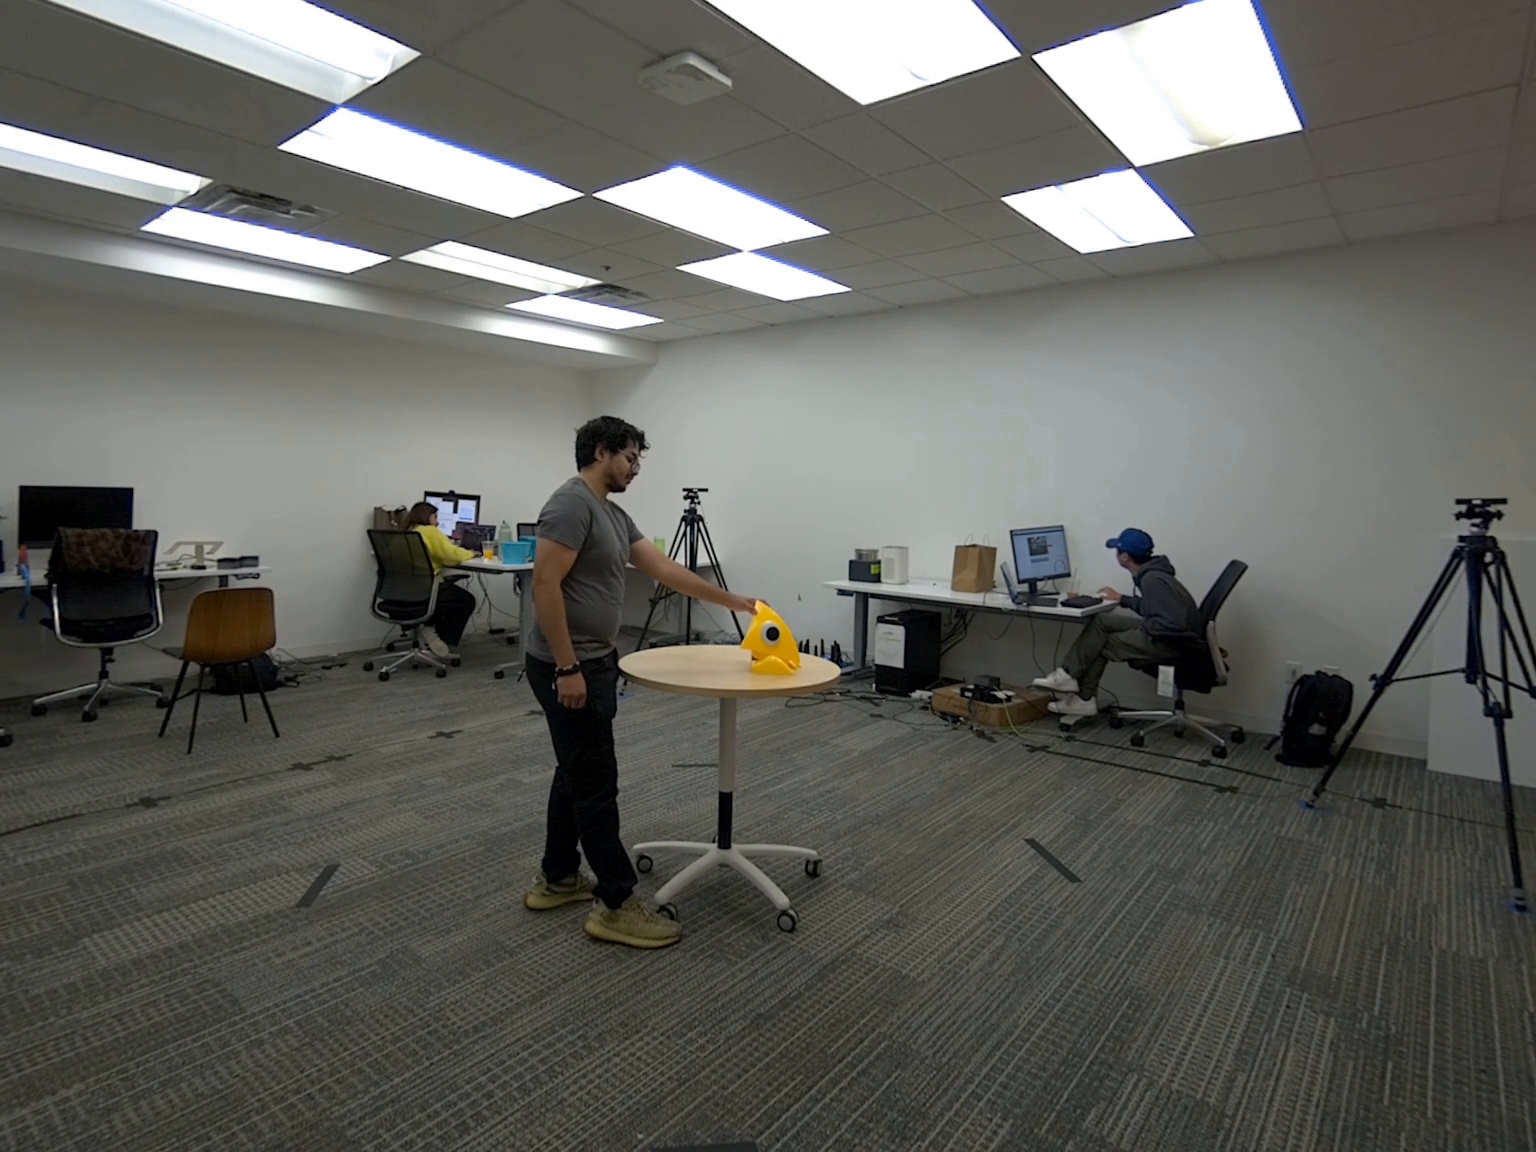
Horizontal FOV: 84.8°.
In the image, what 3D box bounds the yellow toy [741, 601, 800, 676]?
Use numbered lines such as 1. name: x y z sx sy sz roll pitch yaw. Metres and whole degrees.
1. yellow toy: 0.006 0.201 2.888 0.196 0.230 0.202 3 4 15
